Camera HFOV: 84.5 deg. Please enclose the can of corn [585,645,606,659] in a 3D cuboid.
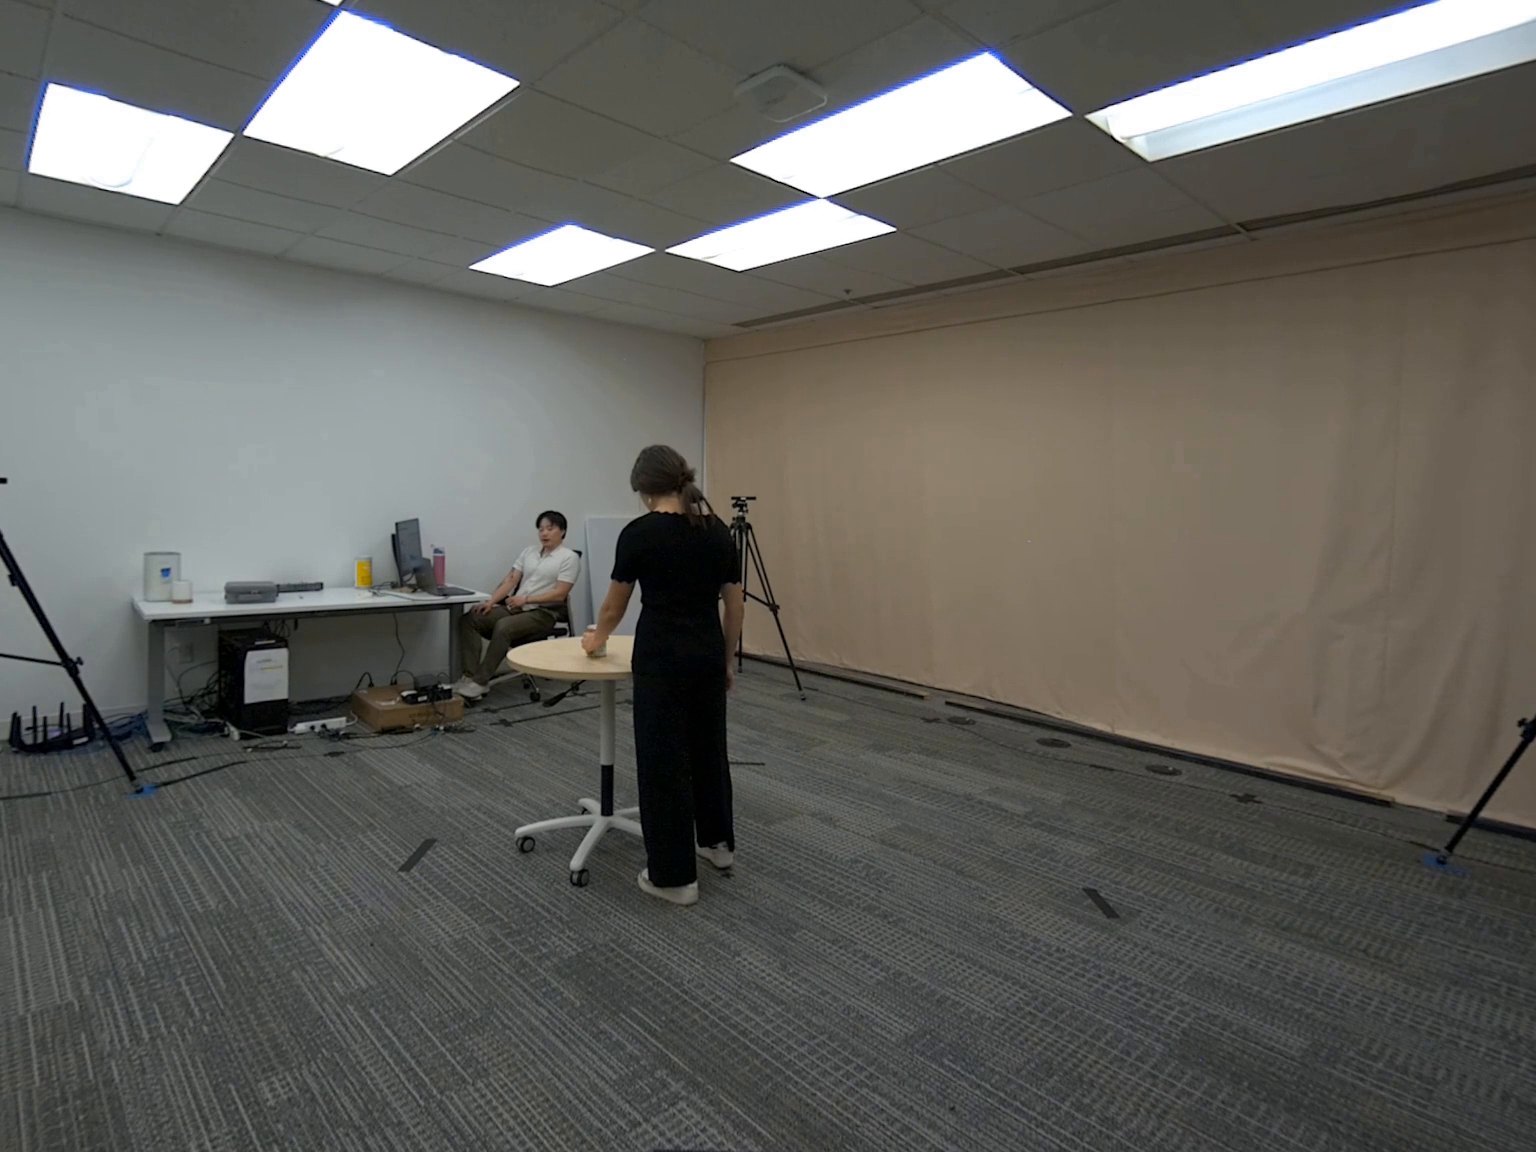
[{"bbox_3d":[-0.665,0.252,3.184,0.074,0.111,0.074,-1,4,-1],"label":"can of corn"}]
